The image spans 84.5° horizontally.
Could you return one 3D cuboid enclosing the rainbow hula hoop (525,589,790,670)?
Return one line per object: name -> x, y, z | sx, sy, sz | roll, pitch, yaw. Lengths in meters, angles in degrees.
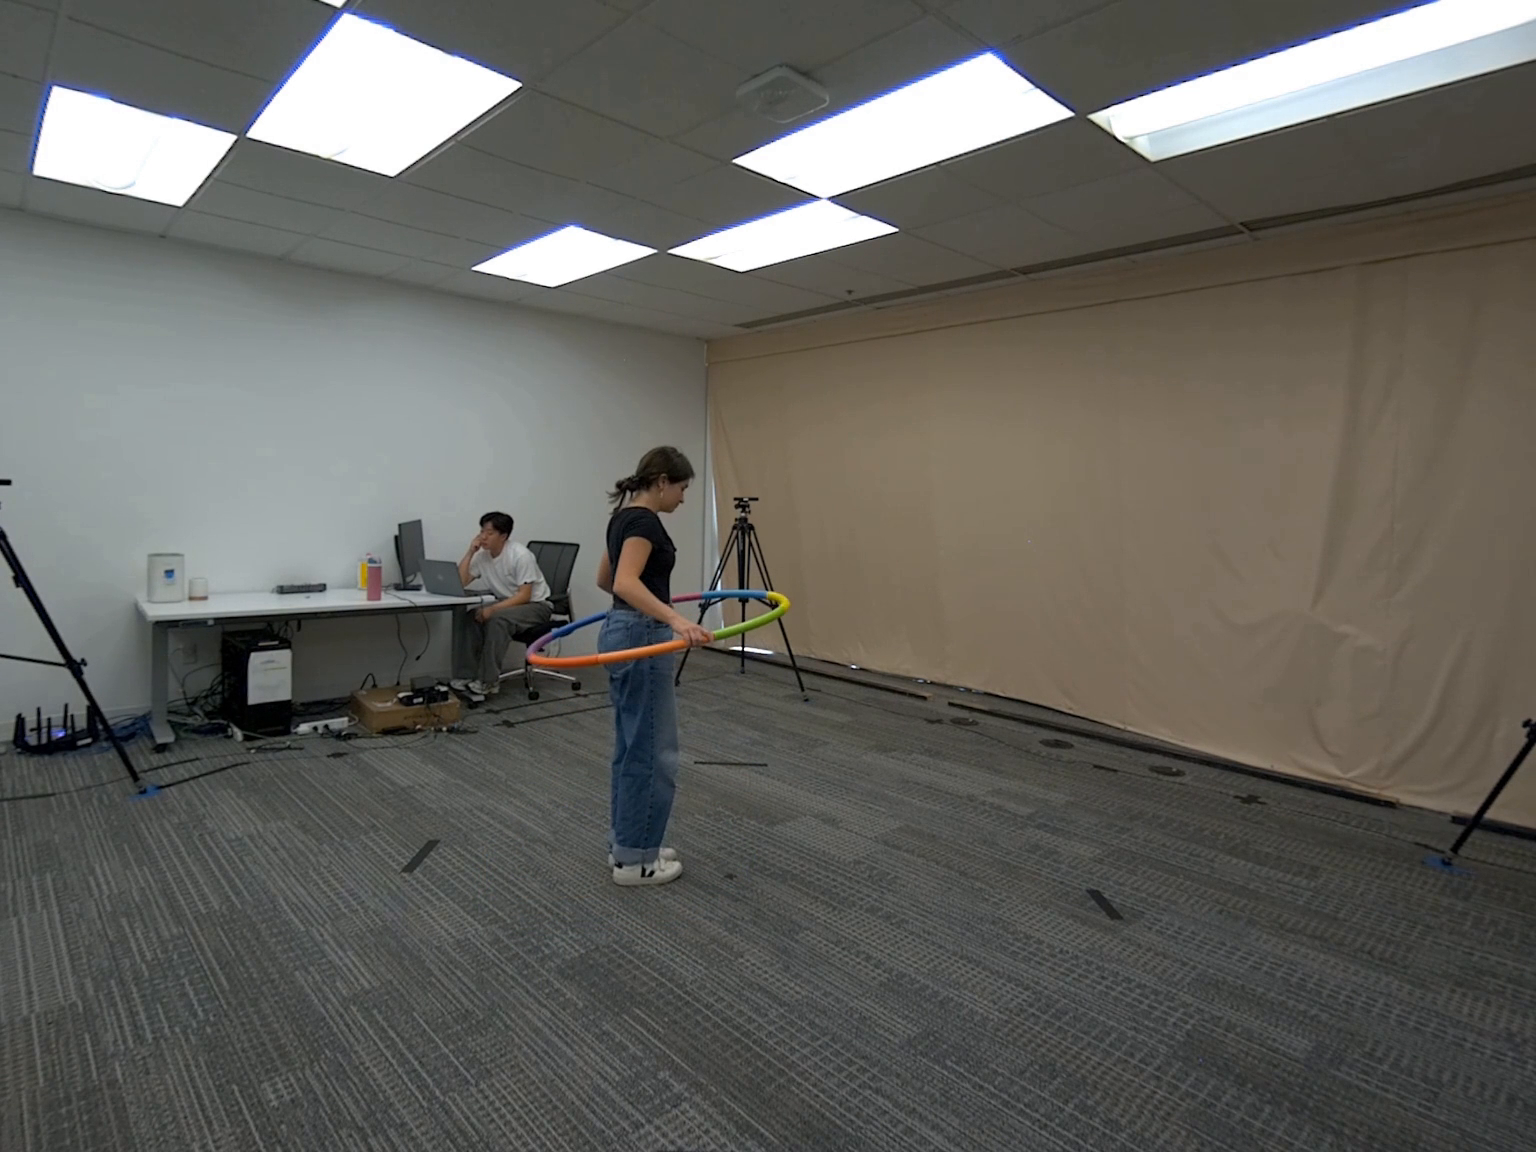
rainbow hula hoop -> -0.413, 0.185, 3.145 | 0.979, 0.035, 0.984 | -10, 8, 0
